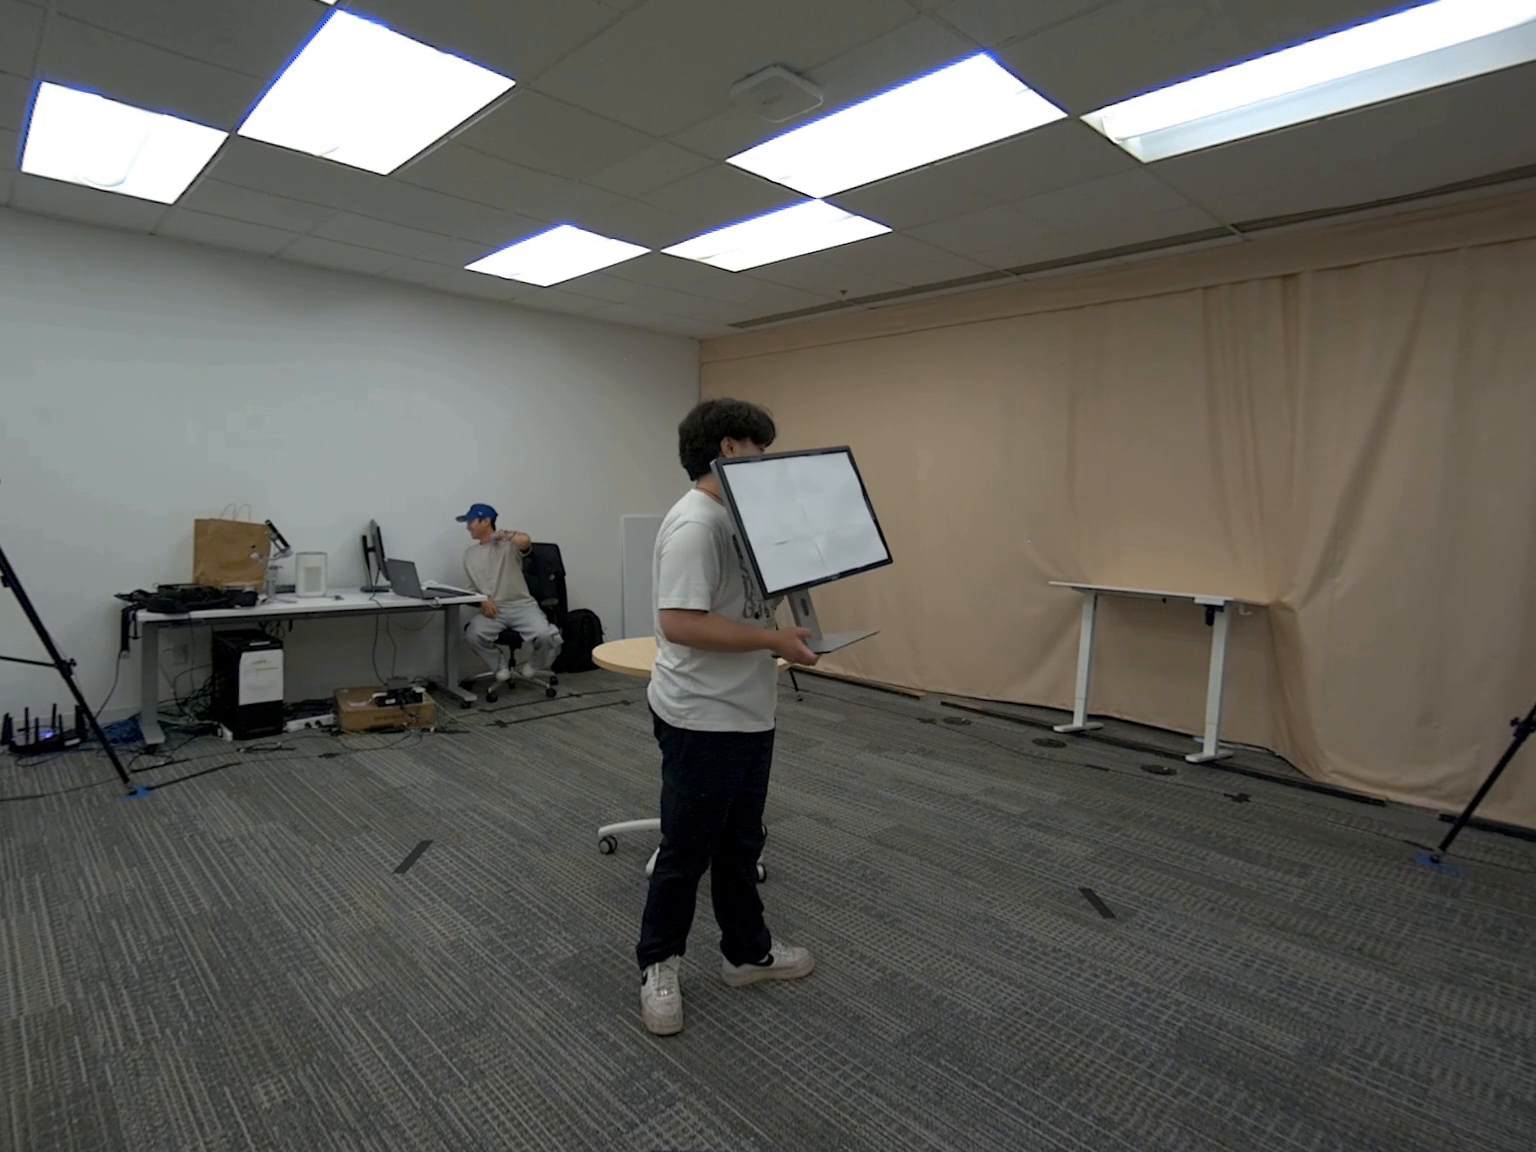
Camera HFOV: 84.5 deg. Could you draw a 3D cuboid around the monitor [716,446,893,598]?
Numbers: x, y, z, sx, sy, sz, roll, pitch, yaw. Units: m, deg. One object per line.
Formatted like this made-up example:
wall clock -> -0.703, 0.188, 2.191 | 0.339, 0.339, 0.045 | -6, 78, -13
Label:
monitor -> 0.068, -0.055, 2.249 | 0.213, 0.555, 0.555 | -18, -2, 43
